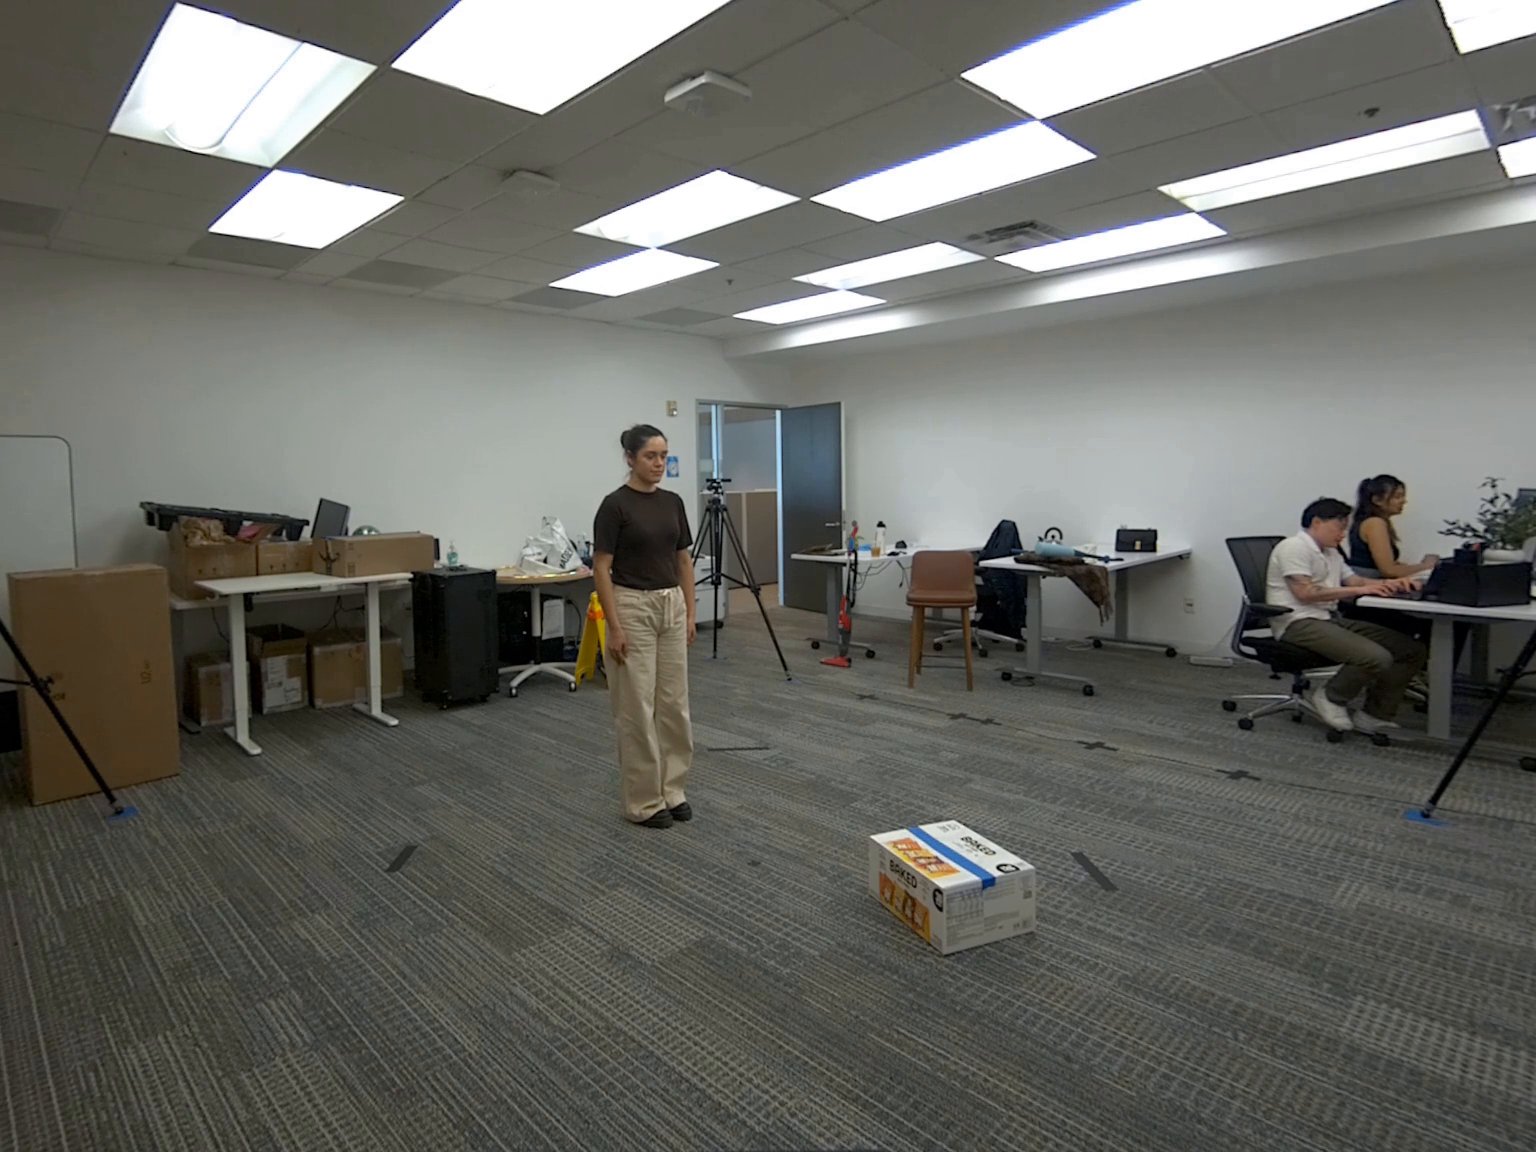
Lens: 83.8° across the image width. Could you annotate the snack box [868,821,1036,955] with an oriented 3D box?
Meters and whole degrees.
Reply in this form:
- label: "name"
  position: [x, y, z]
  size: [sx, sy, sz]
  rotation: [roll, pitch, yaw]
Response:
- label: "snack box"
  position: [0.583, 0.977, 2.719]
  size: [0.334, 0.205, 0.415]
  rotation: [-4, 6, -23]
